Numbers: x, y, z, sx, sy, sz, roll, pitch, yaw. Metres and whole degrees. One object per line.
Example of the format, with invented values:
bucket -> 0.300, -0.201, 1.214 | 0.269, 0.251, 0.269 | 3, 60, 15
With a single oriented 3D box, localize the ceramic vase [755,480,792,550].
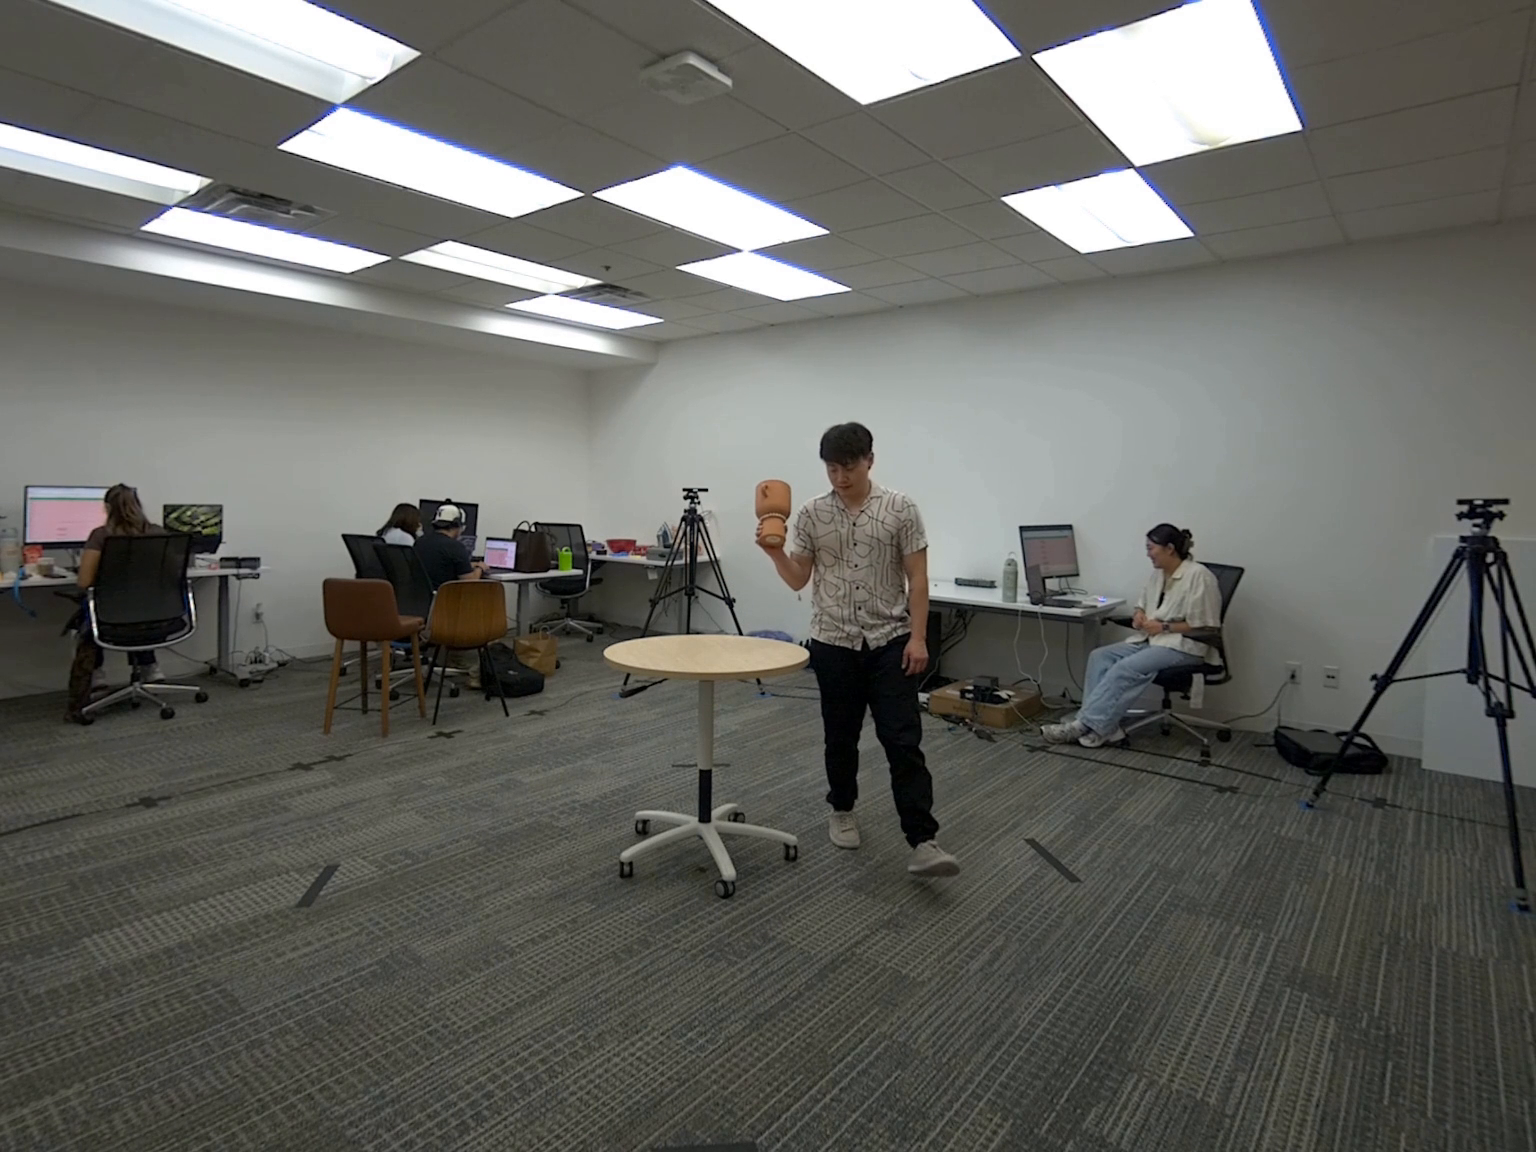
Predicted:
ceramic vase -> 0.018, -0.235, 3.137 | 0.155, 0.224, 0.135 | 13, -28, -22
